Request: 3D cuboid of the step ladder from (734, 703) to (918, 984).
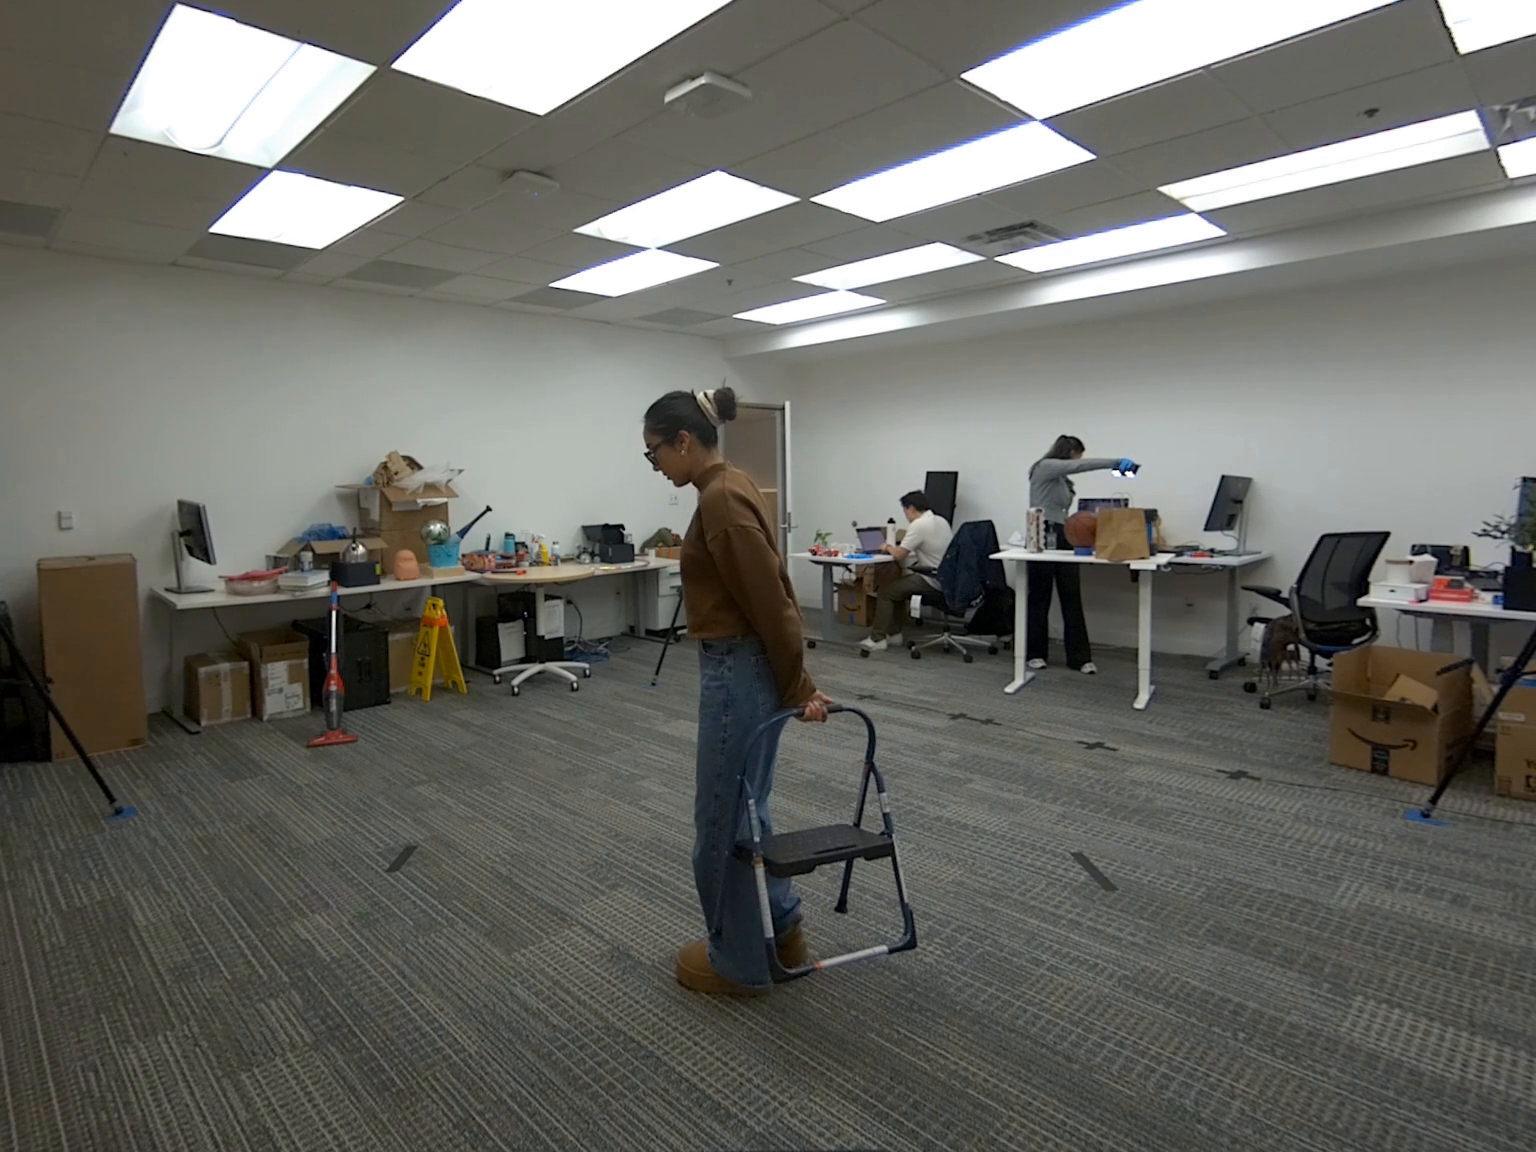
[{"bbox_3d":[0.106,0.641,2.208,0.420,0.609,0.356,0,-6,-28],"label":"step ladder"}]
